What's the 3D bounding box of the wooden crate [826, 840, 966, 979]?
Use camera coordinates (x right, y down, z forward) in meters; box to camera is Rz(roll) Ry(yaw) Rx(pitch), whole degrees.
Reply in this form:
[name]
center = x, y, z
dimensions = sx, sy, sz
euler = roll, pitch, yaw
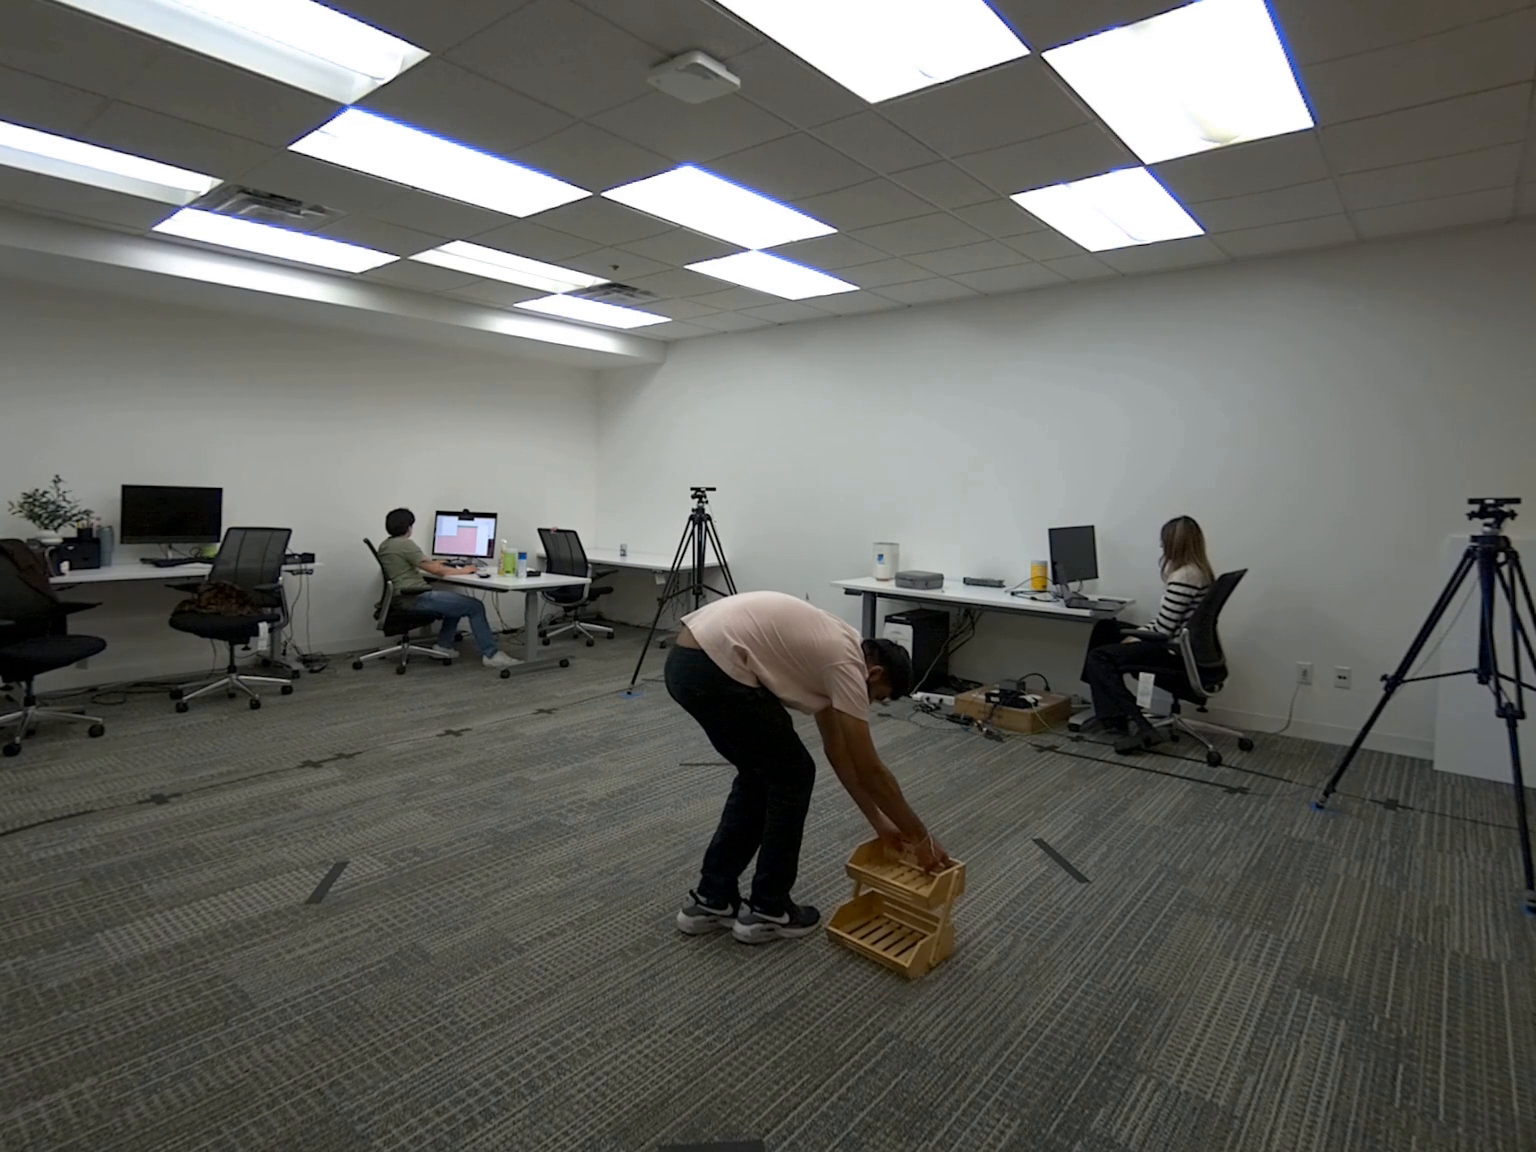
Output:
[wooden crate]
center = 0.382, 0.998, 2.611
dimensions = 0.335, 0.273, 0.293
euler = 5, 5, 43
